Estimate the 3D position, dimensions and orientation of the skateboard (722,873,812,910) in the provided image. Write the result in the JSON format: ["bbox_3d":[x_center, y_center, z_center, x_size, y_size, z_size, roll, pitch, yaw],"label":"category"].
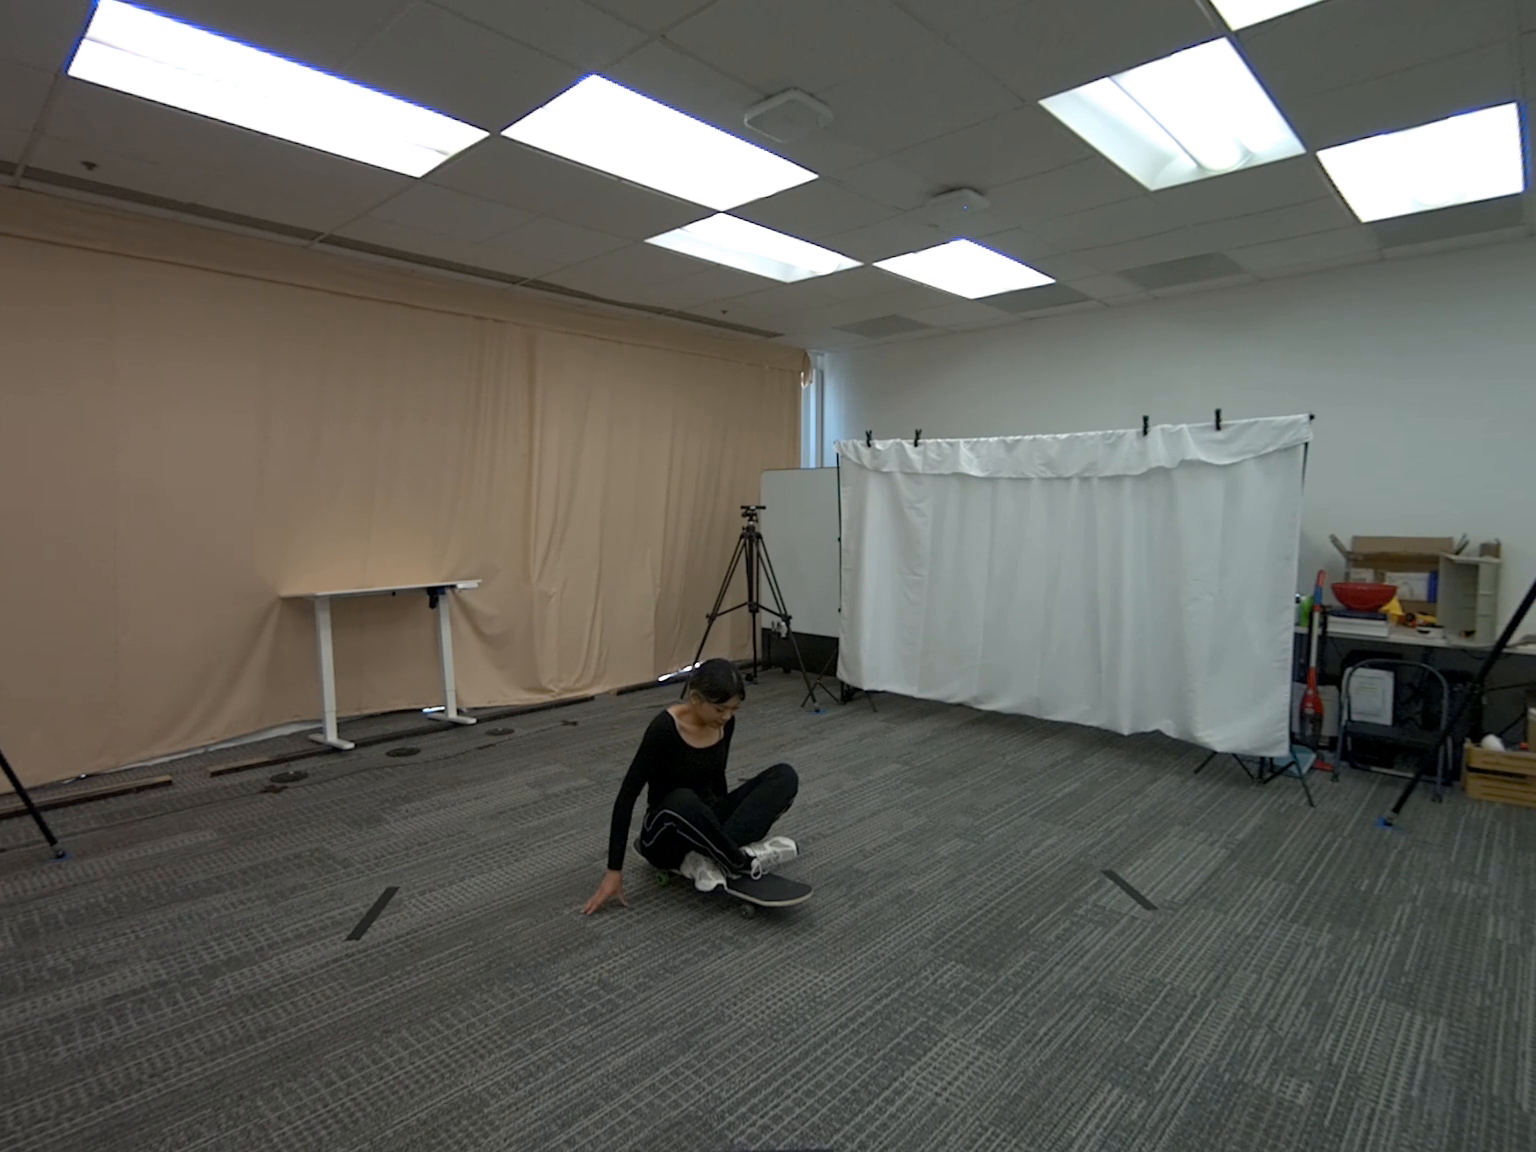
[{"bbox_3d":[-0.173,1.084,3.035,0.810,0.110,0.188,1,5,36],"label":"skateboard"}]
